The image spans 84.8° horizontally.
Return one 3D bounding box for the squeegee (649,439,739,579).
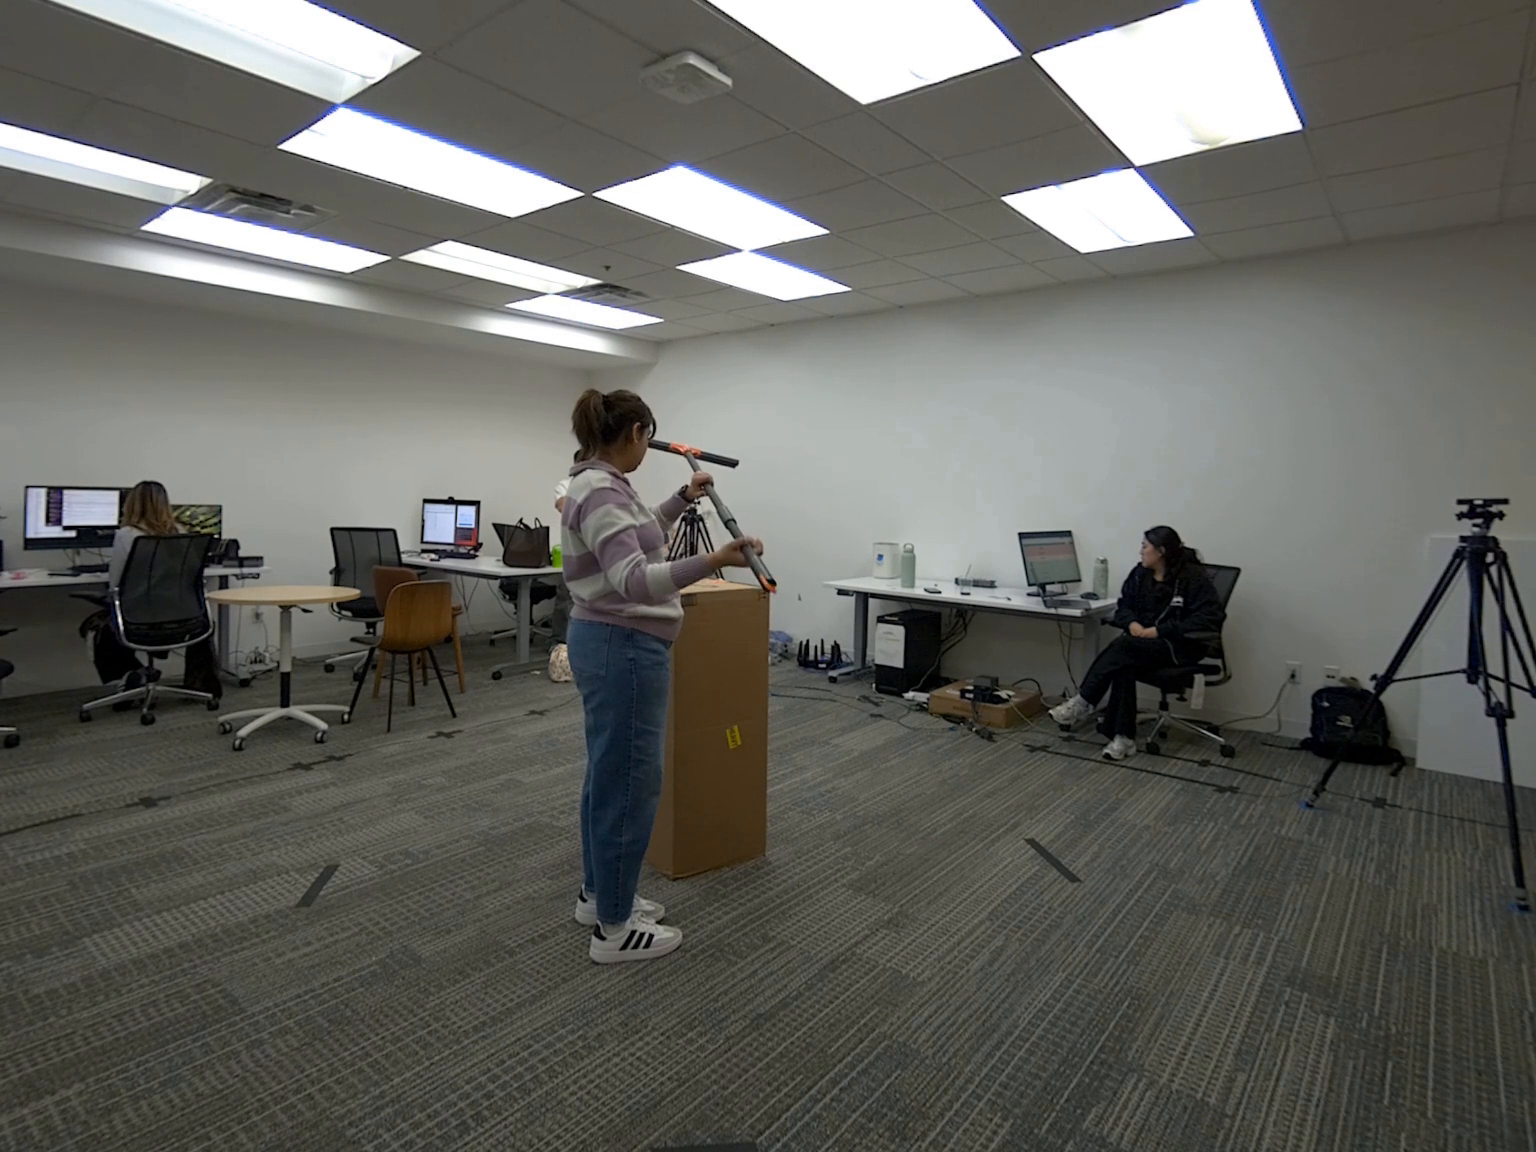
[{"bbox_3d":[-0.136,-0.226,2.570,0.430,0.052,1.580,9,16,-16],"label":"squeegee"}]
